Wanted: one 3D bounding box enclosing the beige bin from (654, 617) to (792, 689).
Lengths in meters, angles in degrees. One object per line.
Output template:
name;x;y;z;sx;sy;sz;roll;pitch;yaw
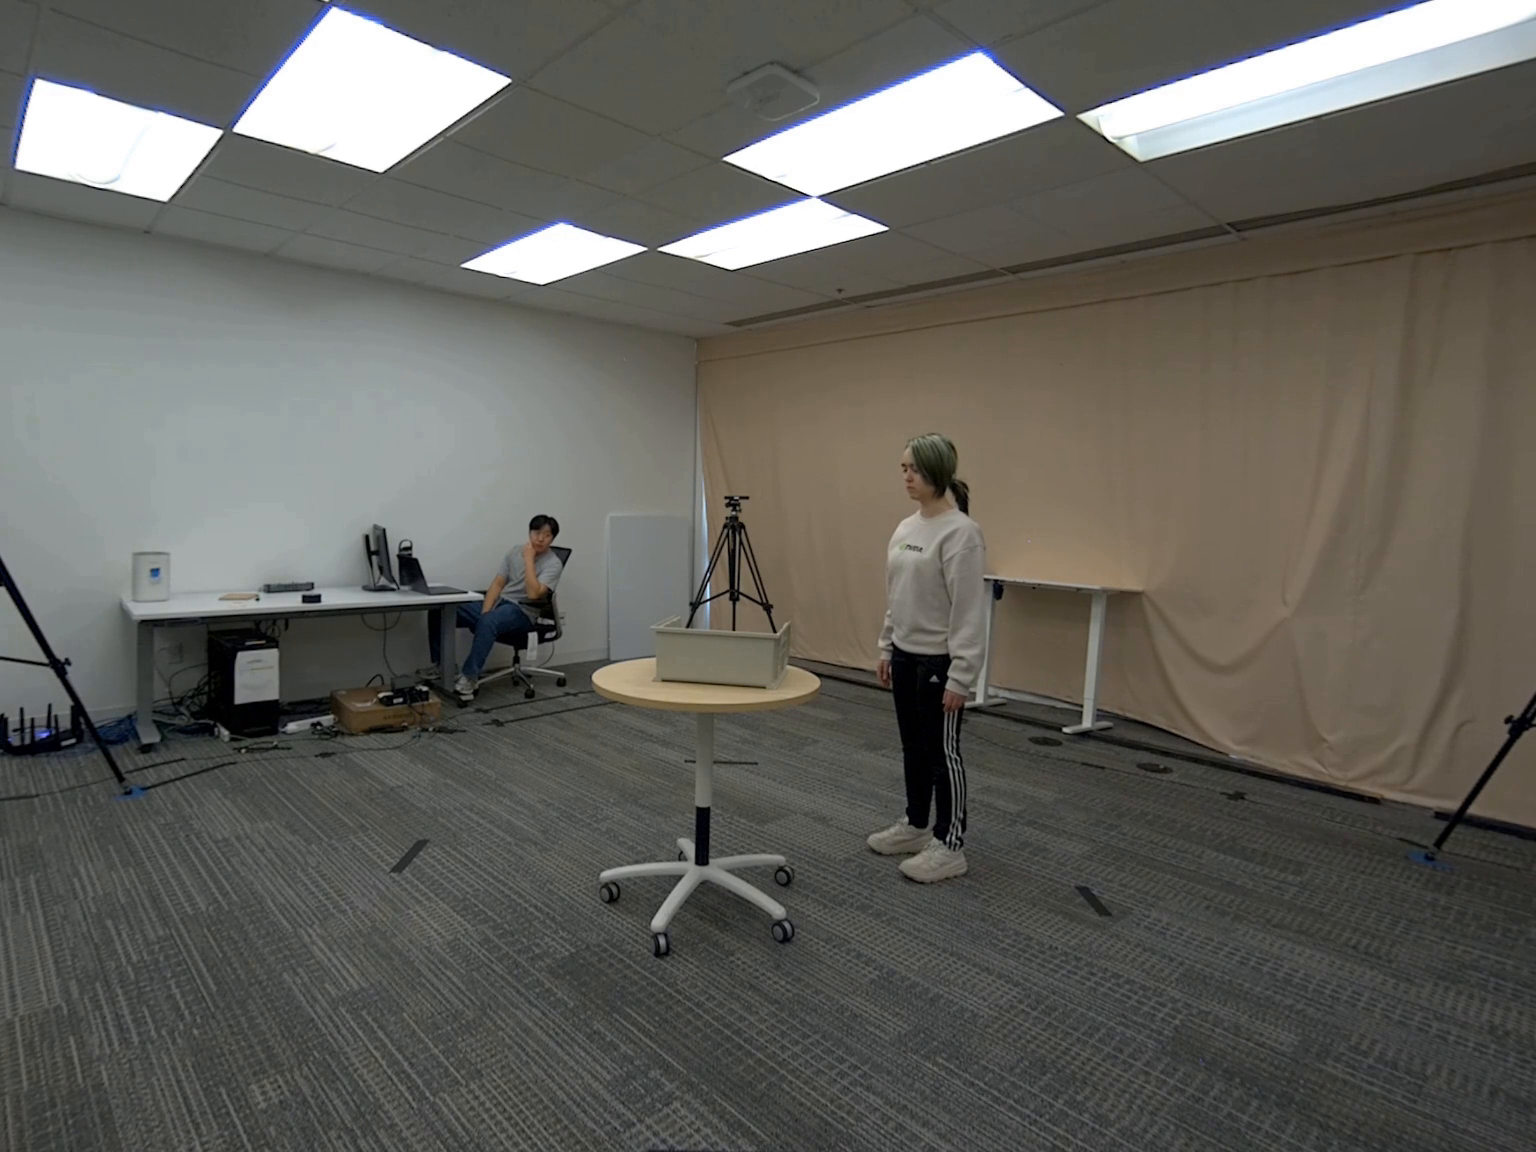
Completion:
beige bin;-0.154;0.249;2.876;0.426;0.188;0.376;3;7;9
